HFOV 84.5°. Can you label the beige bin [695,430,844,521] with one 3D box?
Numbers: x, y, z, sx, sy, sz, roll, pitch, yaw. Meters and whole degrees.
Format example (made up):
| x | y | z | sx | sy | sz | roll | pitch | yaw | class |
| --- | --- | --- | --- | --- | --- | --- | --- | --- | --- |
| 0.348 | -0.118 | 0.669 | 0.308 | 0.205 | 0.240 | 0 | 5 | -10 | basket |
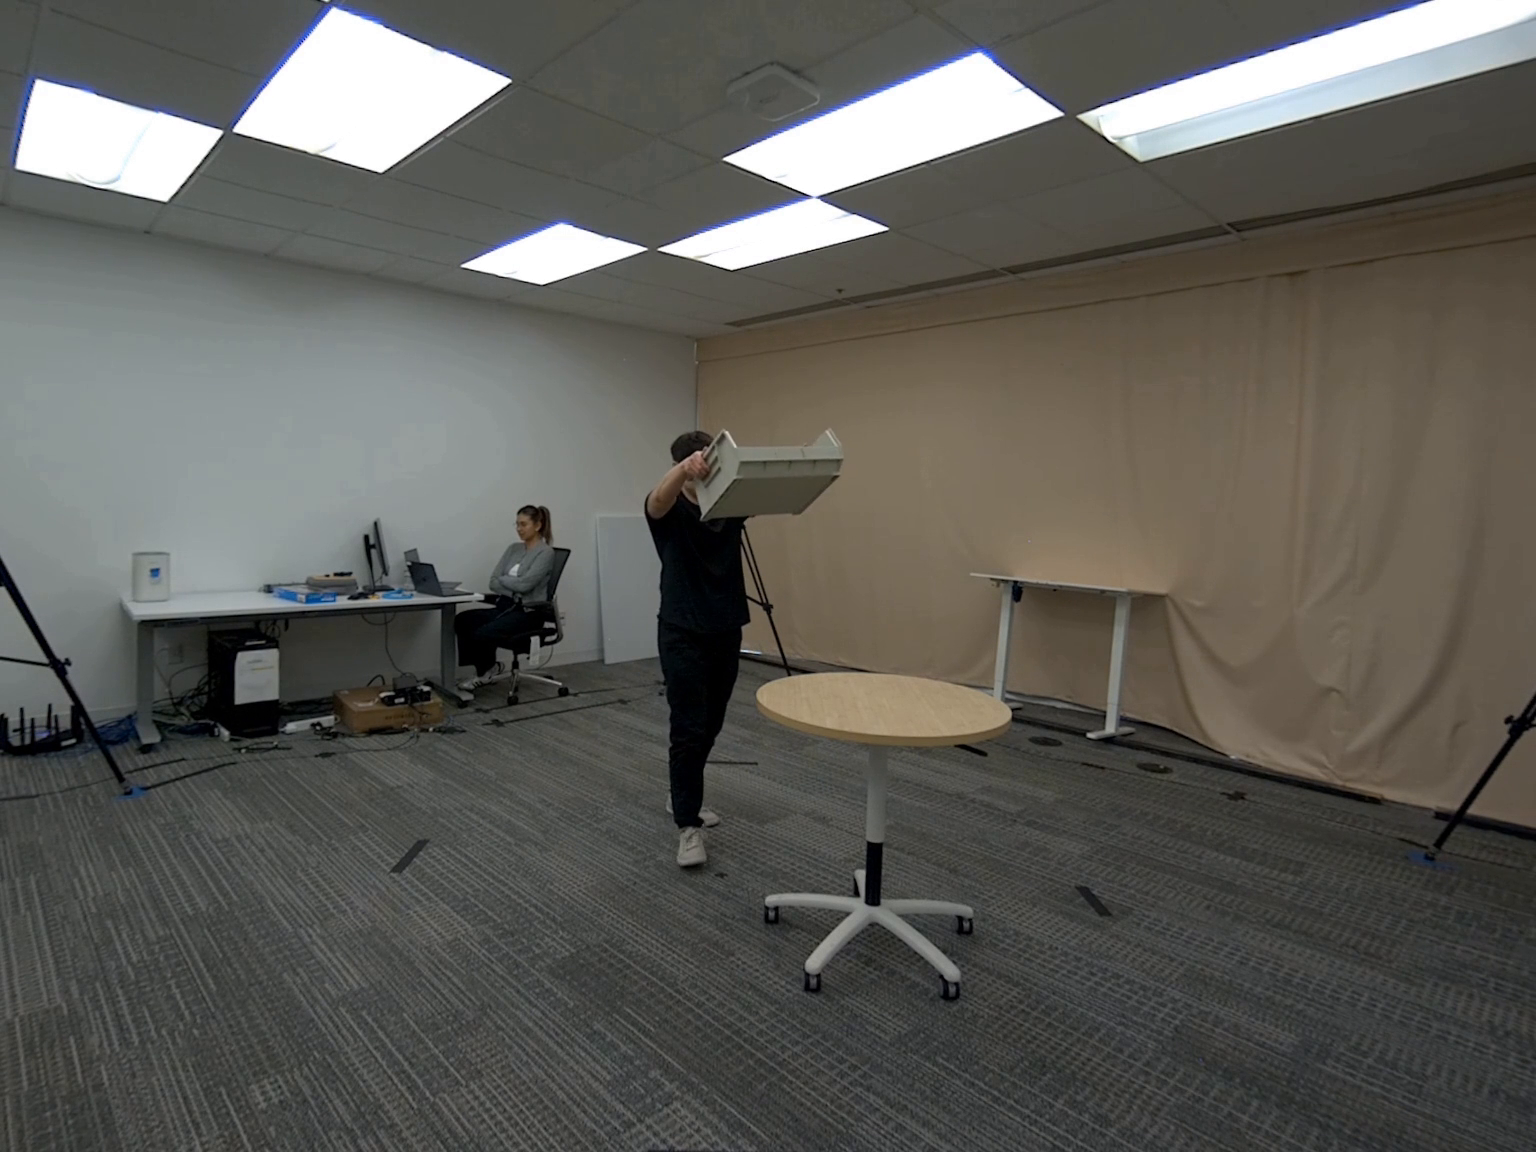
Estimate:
| x | y | z | sx | sy | sz | roll | pitch | yaw | class |
| --- | --- | --- | --- | --- | --- | --- | --- | --- | --- |
| -0.014 | -0.358 | 2.935 | 0.415 | 0.192 | 0.377 | -6 | -20 | -28 | beige bin |
